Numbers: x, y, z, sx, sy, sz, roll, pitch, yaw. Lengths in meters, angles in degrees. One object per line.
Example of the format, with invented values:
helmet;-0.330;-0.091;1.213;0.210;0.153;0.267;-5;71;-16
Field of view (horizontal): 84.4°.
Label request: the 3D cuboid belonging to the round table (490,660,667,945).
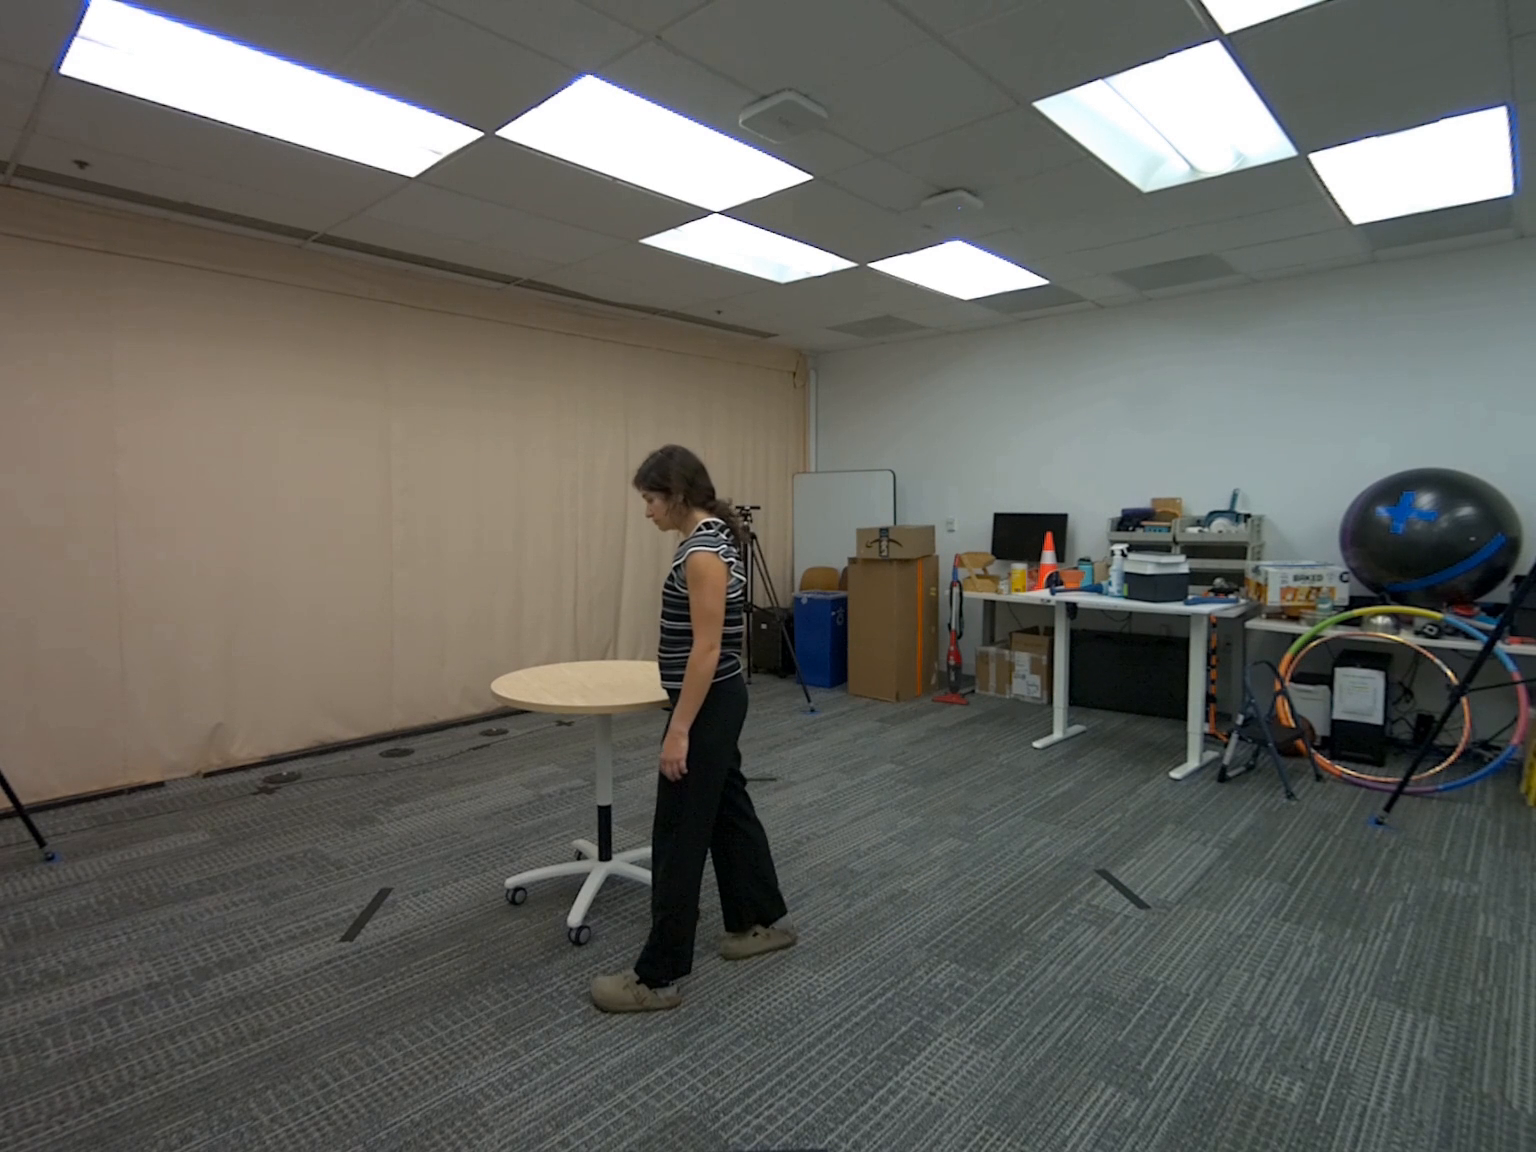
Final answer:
round table;-0.579;0.763;2.980;0.763;0.792;0.766;-1;3;-2
